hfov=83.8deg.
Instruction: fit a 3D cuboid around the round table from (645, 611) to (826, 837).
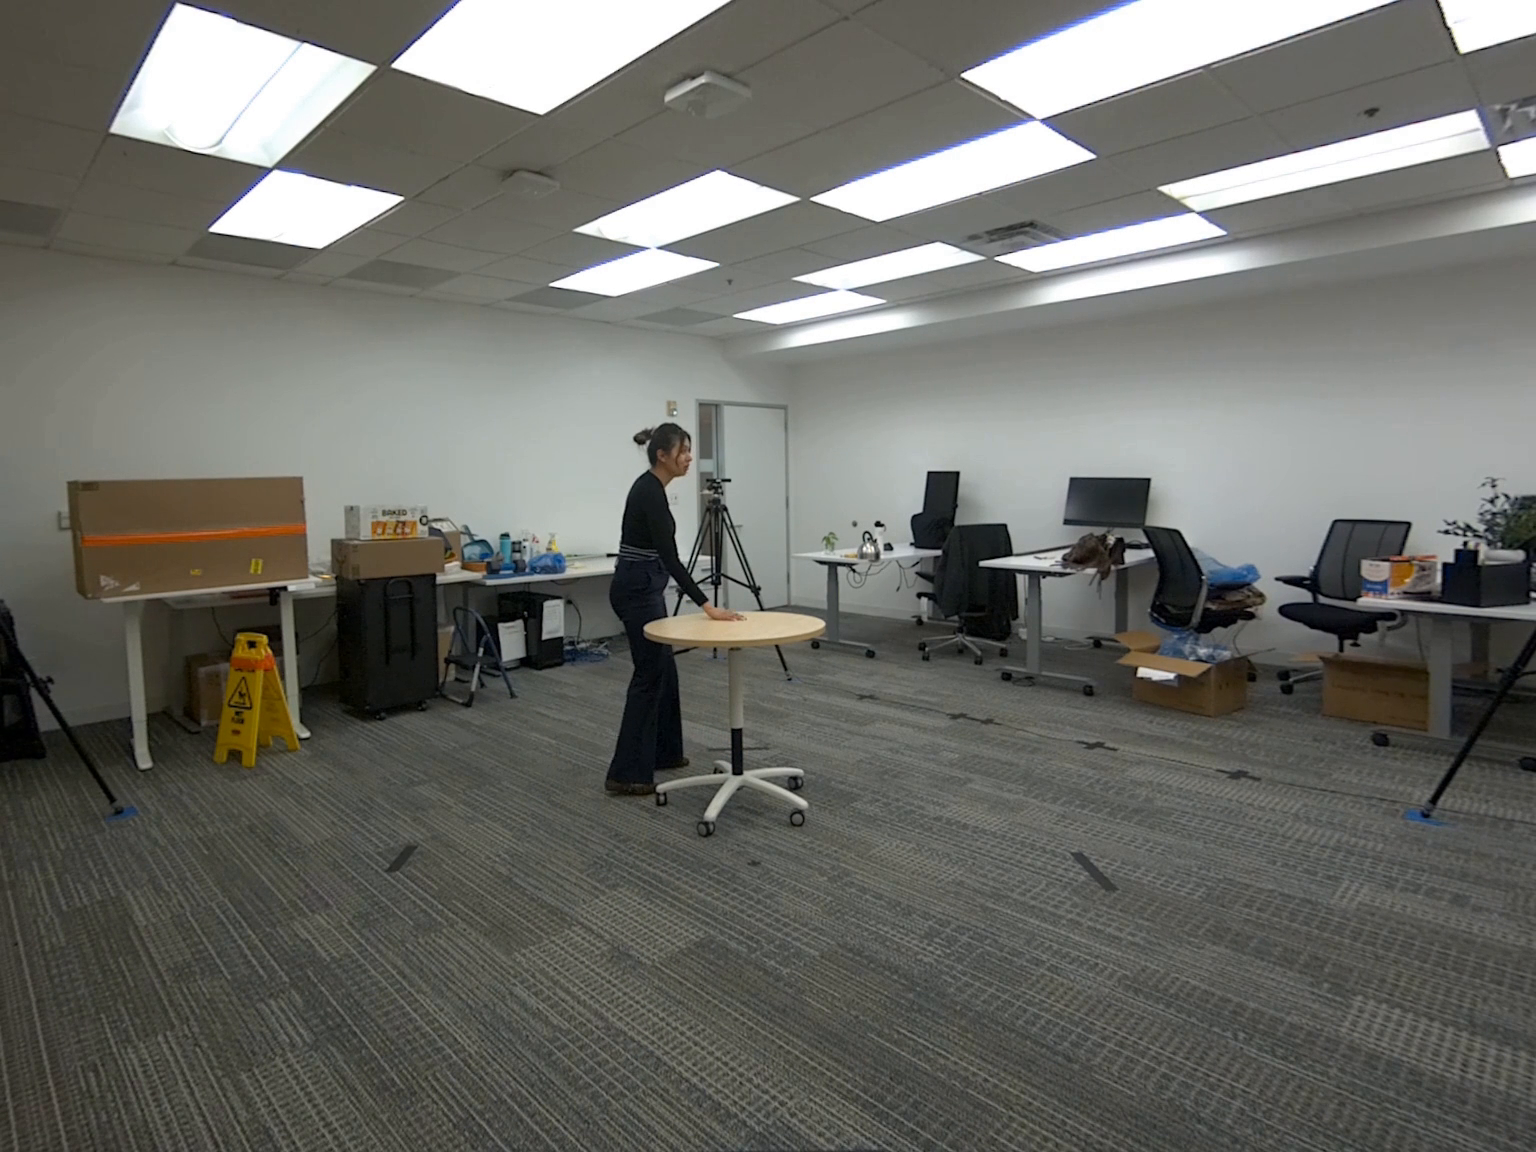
[{"bbox_3d":[-0.131,0.597,3.630,0.763,0.791,0.768,-1,4,-2],"label":"round table"}]
